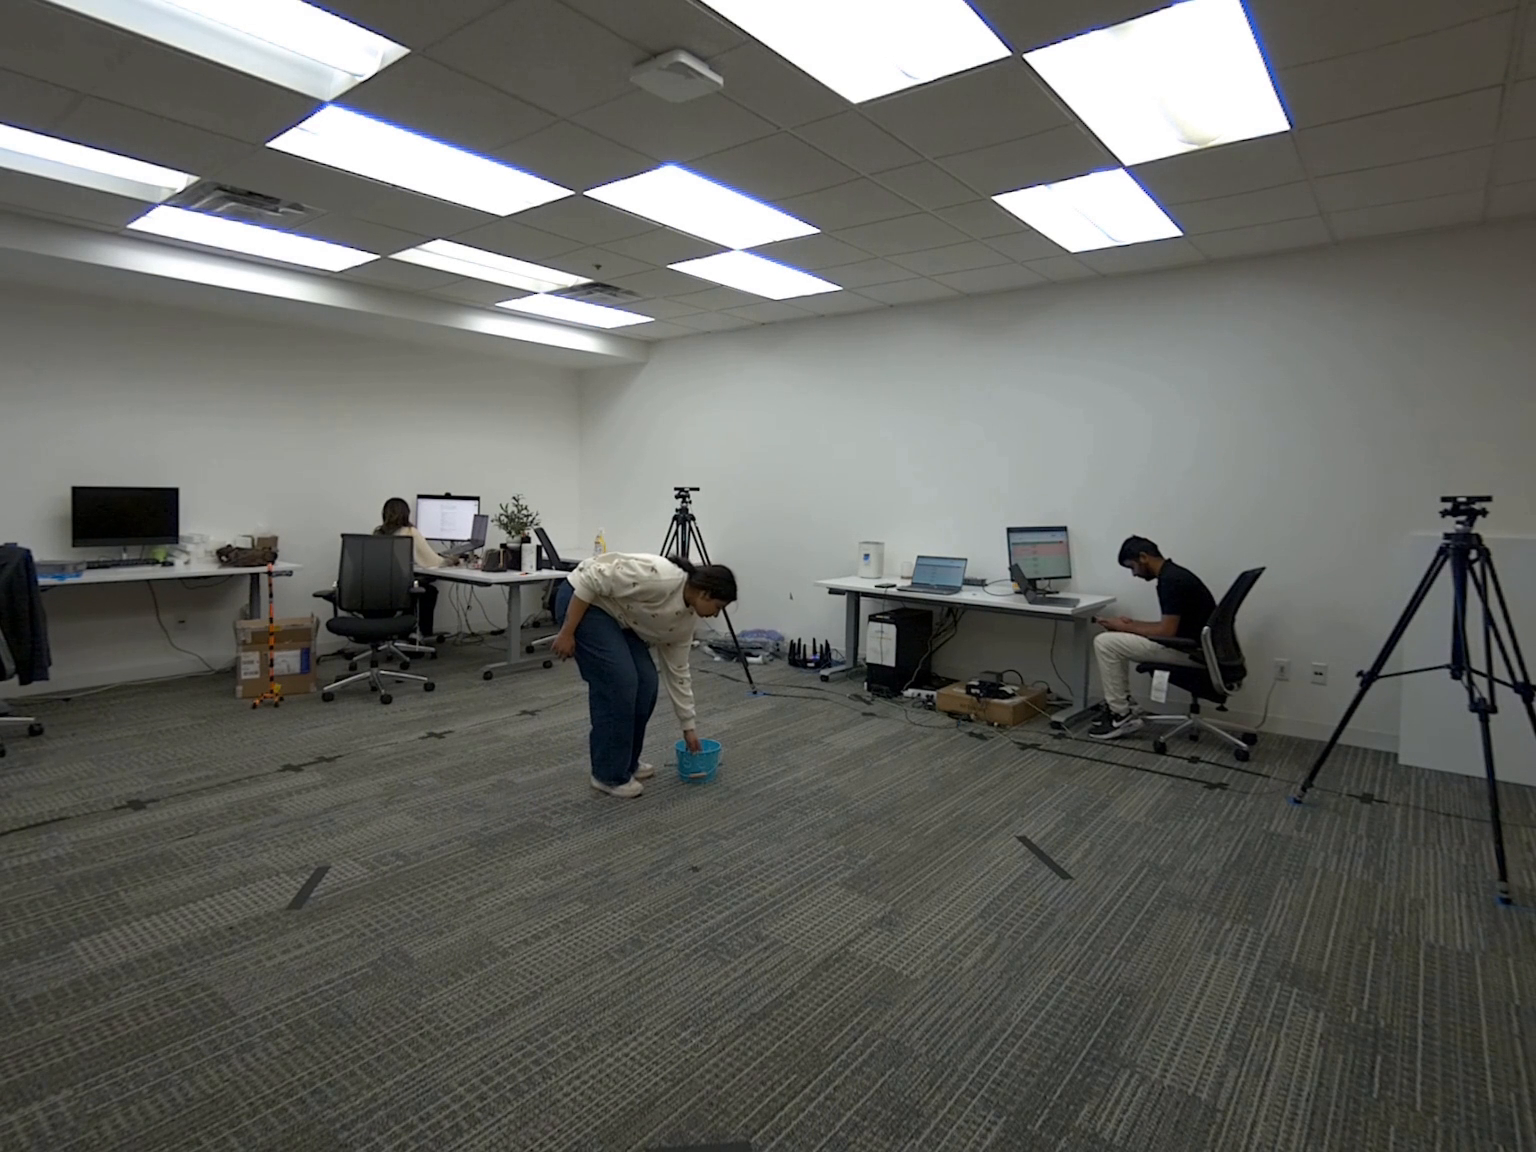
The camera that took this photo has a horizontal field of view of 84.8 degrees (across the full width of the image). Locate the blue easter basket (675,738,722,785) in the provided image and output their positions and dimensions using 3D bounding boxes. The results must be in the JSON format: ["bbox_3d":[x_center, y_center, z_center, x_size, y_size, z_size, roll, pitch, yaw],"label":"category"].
[{"bbox_3d":[-0.349,0.890,4.112,0.243,0.155,0.245,1,5,-2],"label":"blue easter basket"}]
